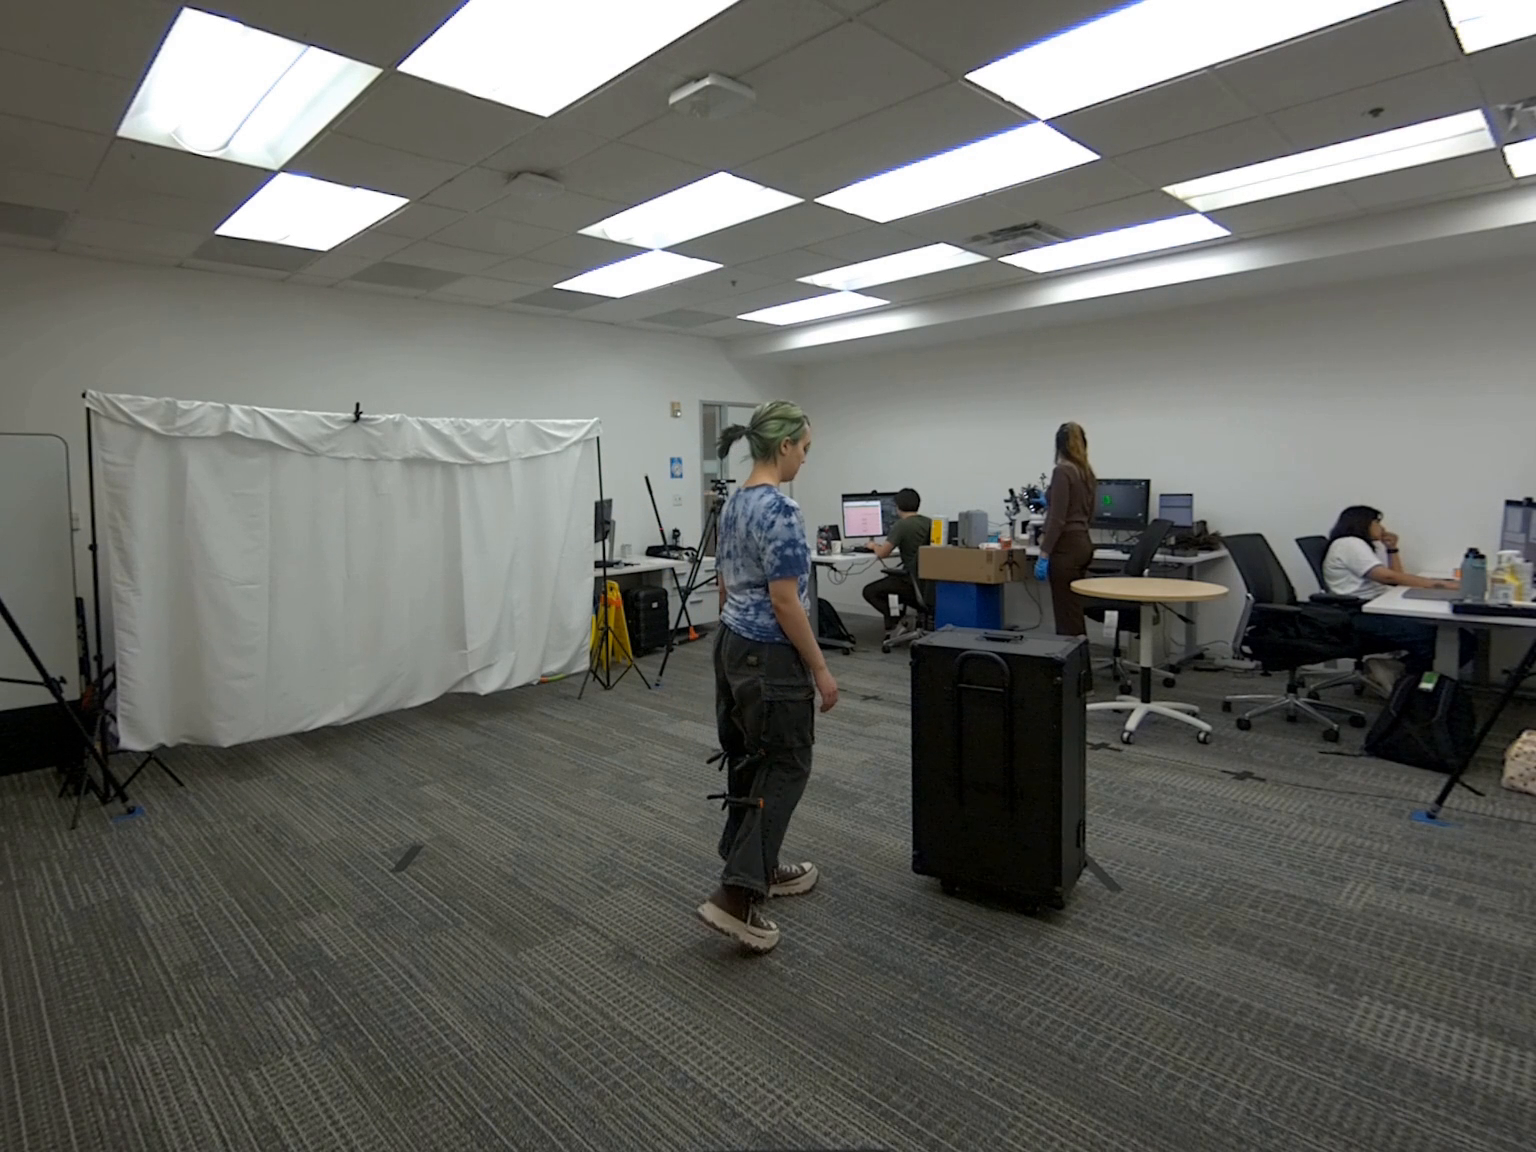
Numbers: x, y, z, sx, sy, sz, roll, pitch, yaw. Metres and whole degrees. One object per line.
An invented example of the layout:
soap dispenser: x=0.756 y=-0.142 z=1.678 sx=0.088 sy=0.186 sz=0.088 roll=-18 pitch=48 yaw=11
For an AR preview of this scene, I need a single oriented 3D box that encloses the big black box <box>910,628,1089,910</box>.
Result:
big black box: x=0.778 y=0.635 z=2.848 sx=0.536 sy=0.858 sz=0.387 roll=2 pitch=6 yaw=33
